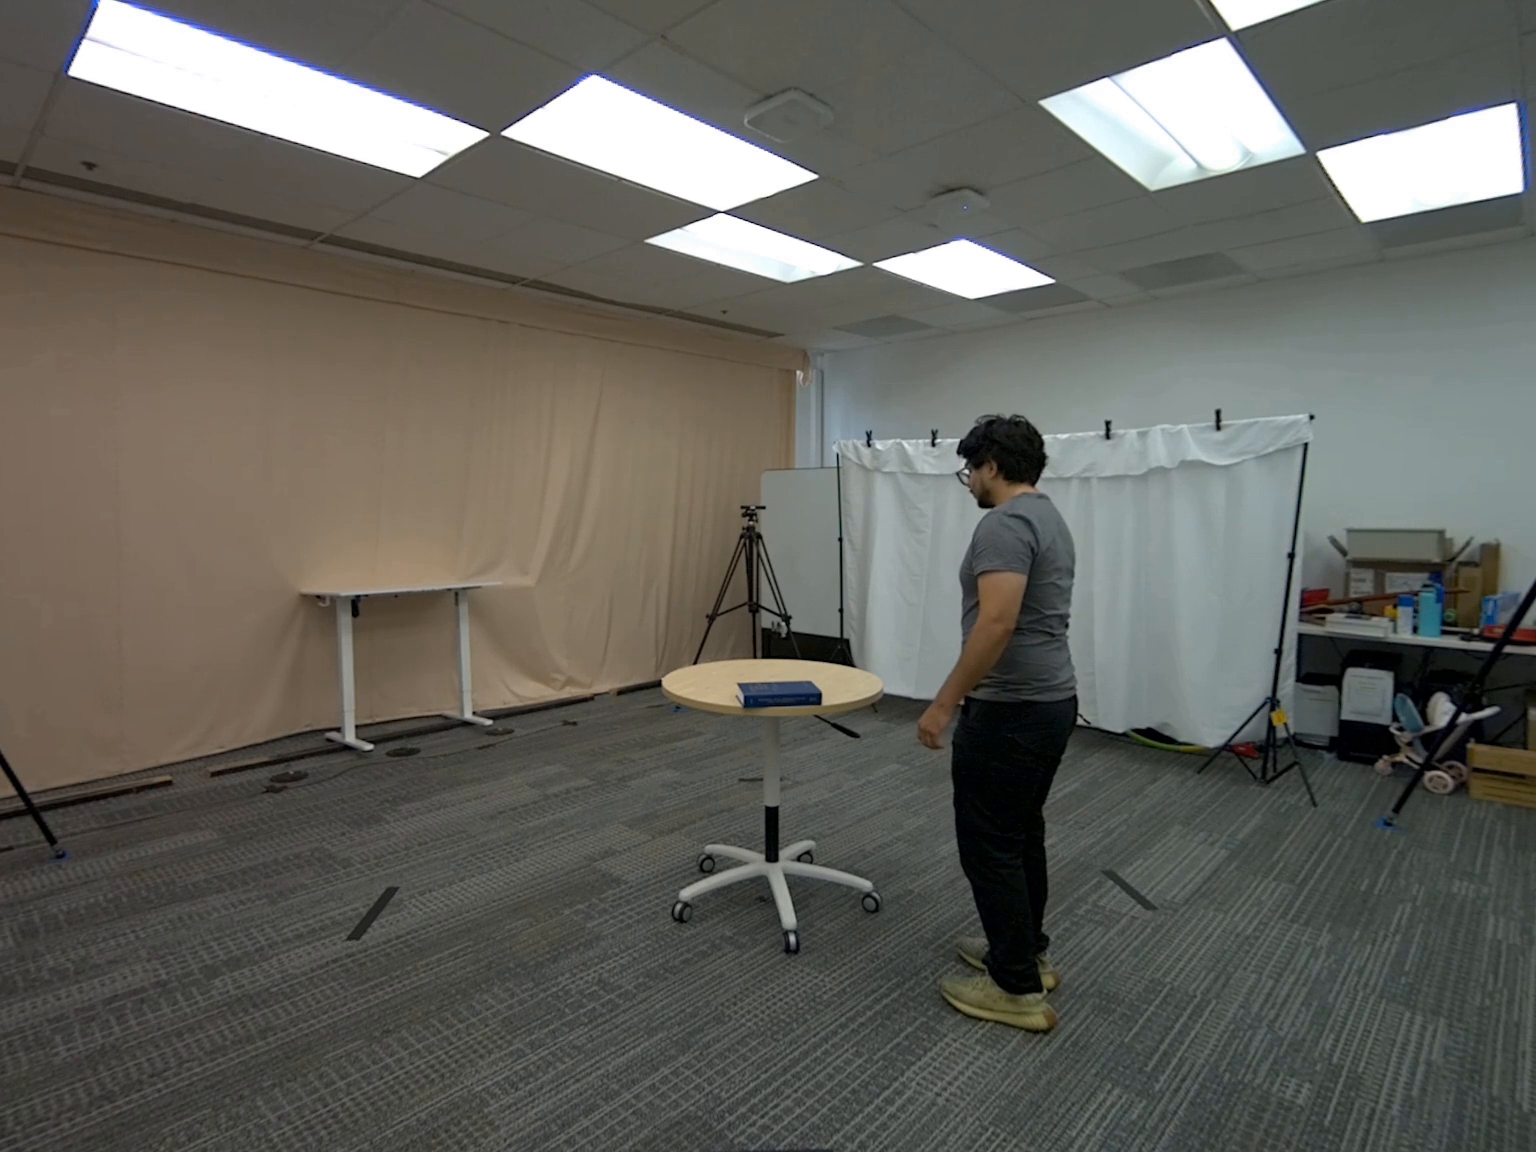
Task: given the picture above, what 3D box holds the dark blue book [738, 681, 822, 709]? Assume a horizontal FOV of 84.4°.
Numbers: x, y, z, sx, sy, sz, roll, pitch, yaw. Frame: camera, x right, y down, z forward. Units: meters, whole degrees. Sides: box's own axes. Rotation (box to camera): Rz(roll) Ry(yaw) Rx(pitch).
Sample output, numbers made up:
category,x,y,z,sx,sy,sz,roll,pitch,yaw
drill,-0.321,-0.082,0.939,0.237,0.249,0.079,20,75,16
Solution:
category,x,y,z,sx,sy,sz,roll,pitch,yaw
dark blue book,0.034,0.375,2.627,0.243,0.045,0.165,-1,5,-8
